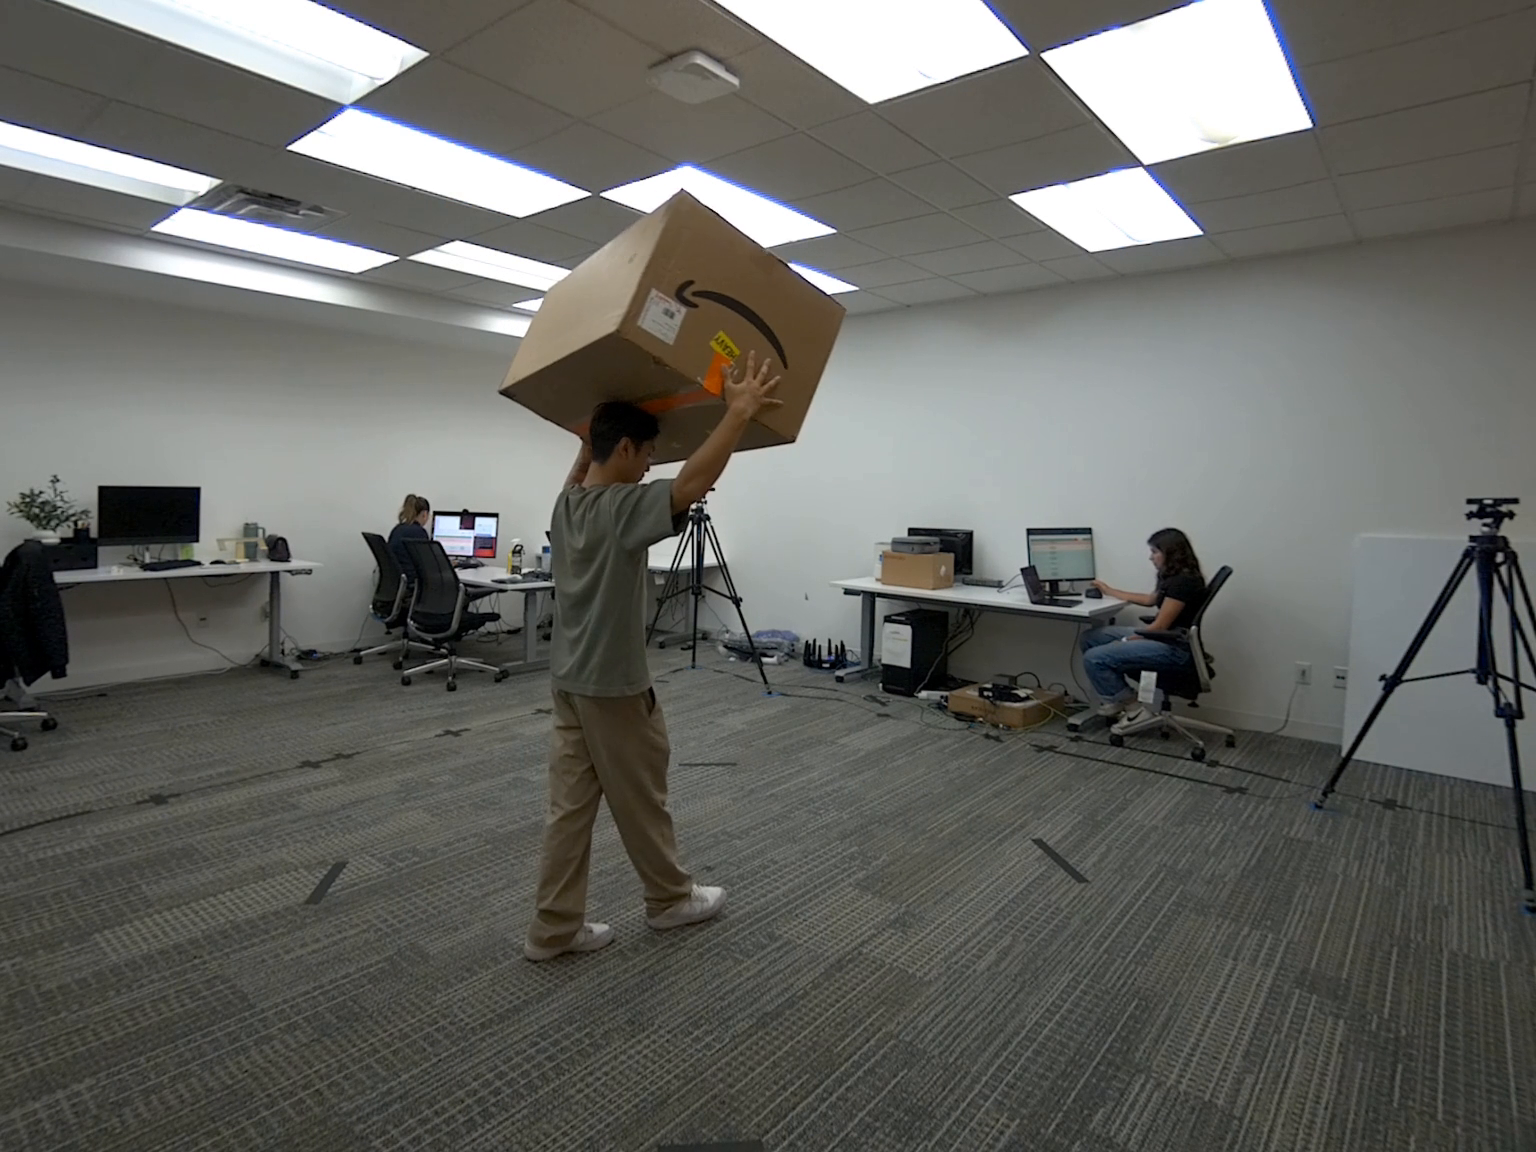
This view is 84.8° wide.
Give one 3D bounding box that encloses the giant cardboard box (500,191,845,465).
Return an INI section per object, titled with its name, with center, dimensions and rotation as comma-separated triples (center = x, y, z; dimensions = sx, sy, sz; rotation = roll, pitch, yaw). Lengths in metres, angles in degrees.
[giant cardboard box]
center = -0.355, -0.674, 2.627
dimensions = 0.558, 0.429, 1.056
rotation = 28, -12, -30
